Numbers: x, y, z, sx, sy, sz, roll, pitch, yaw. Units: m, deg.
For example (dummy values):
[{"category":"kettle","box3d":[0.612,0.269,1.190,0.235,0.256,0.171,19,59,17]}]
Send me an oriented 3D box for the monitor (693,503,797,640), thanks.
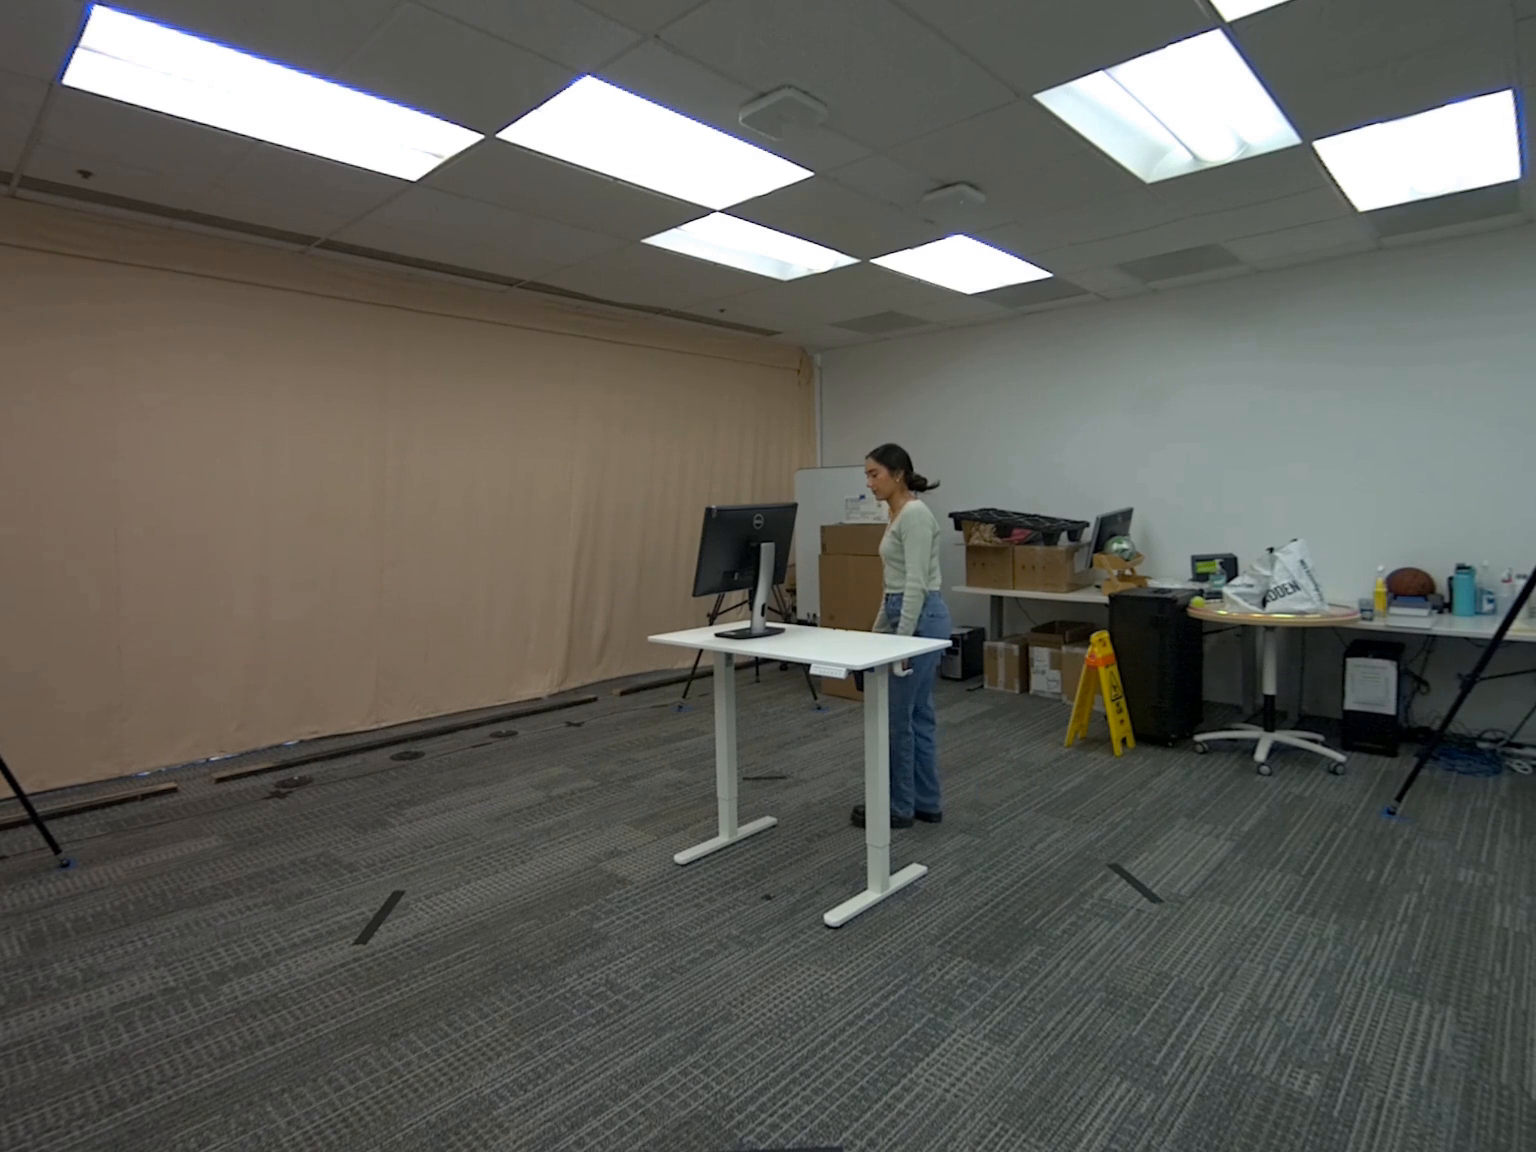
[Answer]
[{"category":"monitor","box3d":[-0.059,-0.025,3.310,0.180,0.515,0.514,-1,4,41]}]
